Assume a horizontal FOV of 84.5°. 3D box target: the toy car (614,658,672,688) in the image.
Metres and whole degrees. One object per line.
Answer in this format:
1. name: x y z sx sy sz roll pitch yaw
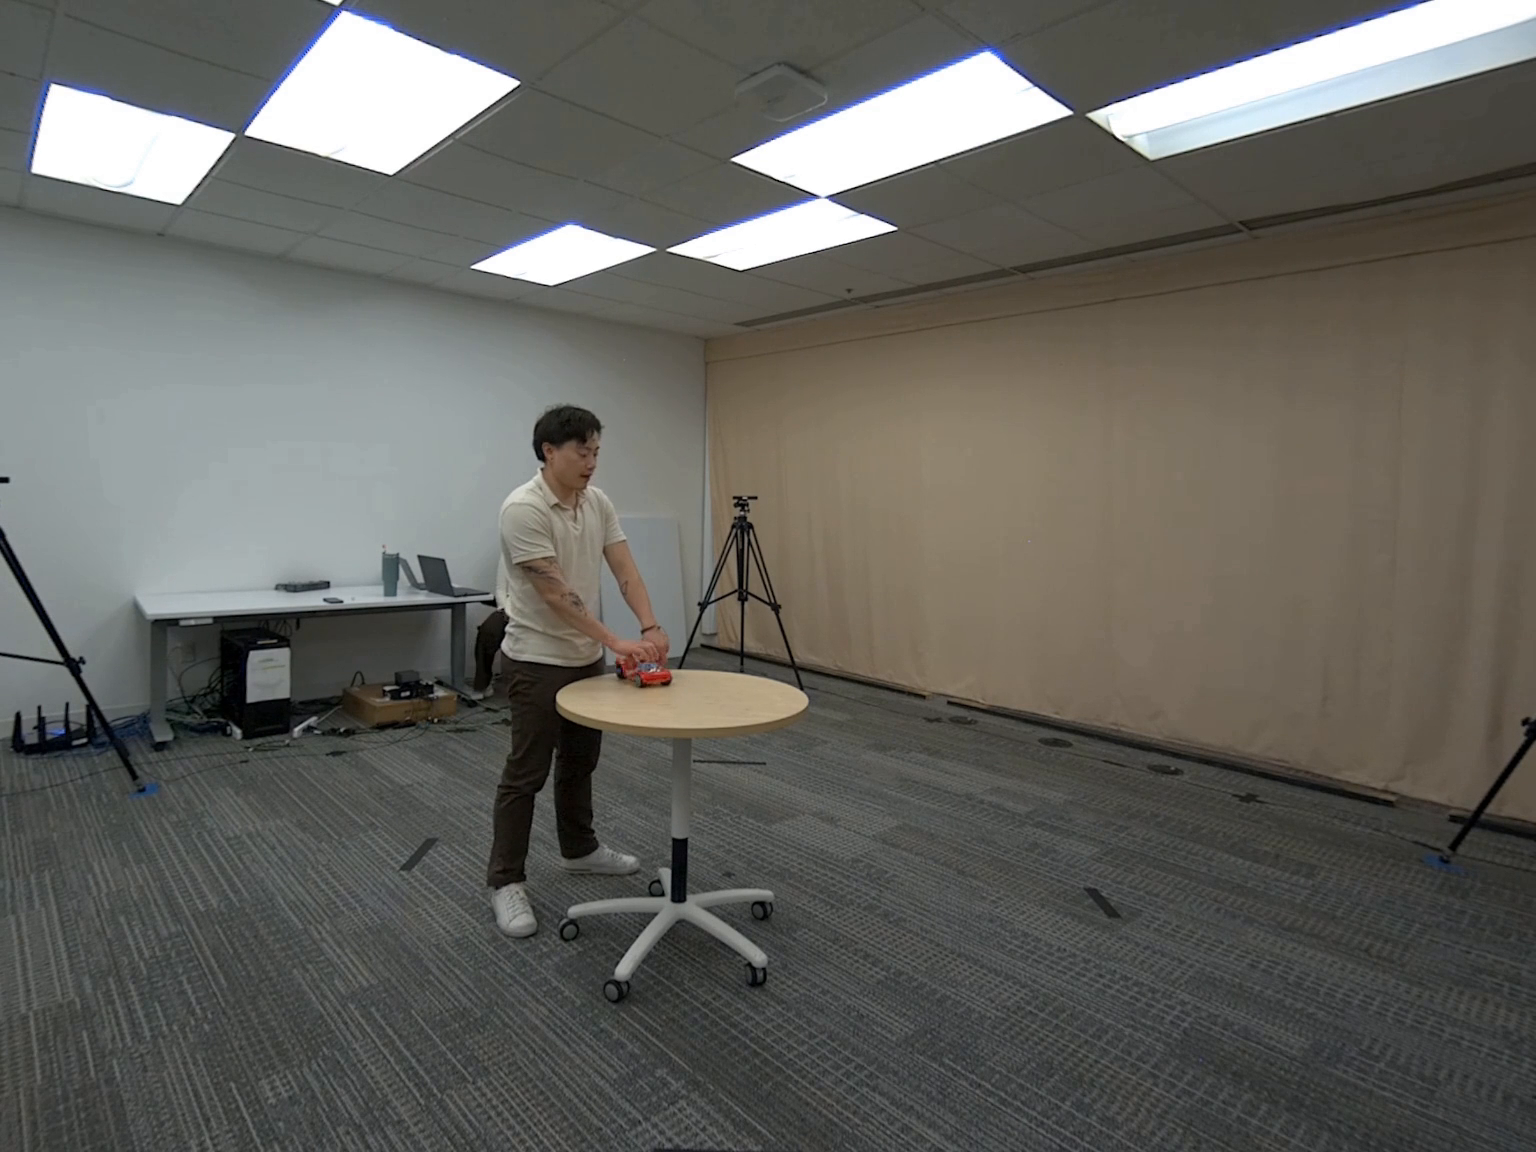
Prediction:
1. toy car: -0.432 0.315 2.755 0.127 0.082 0.262 -2 17 -31
